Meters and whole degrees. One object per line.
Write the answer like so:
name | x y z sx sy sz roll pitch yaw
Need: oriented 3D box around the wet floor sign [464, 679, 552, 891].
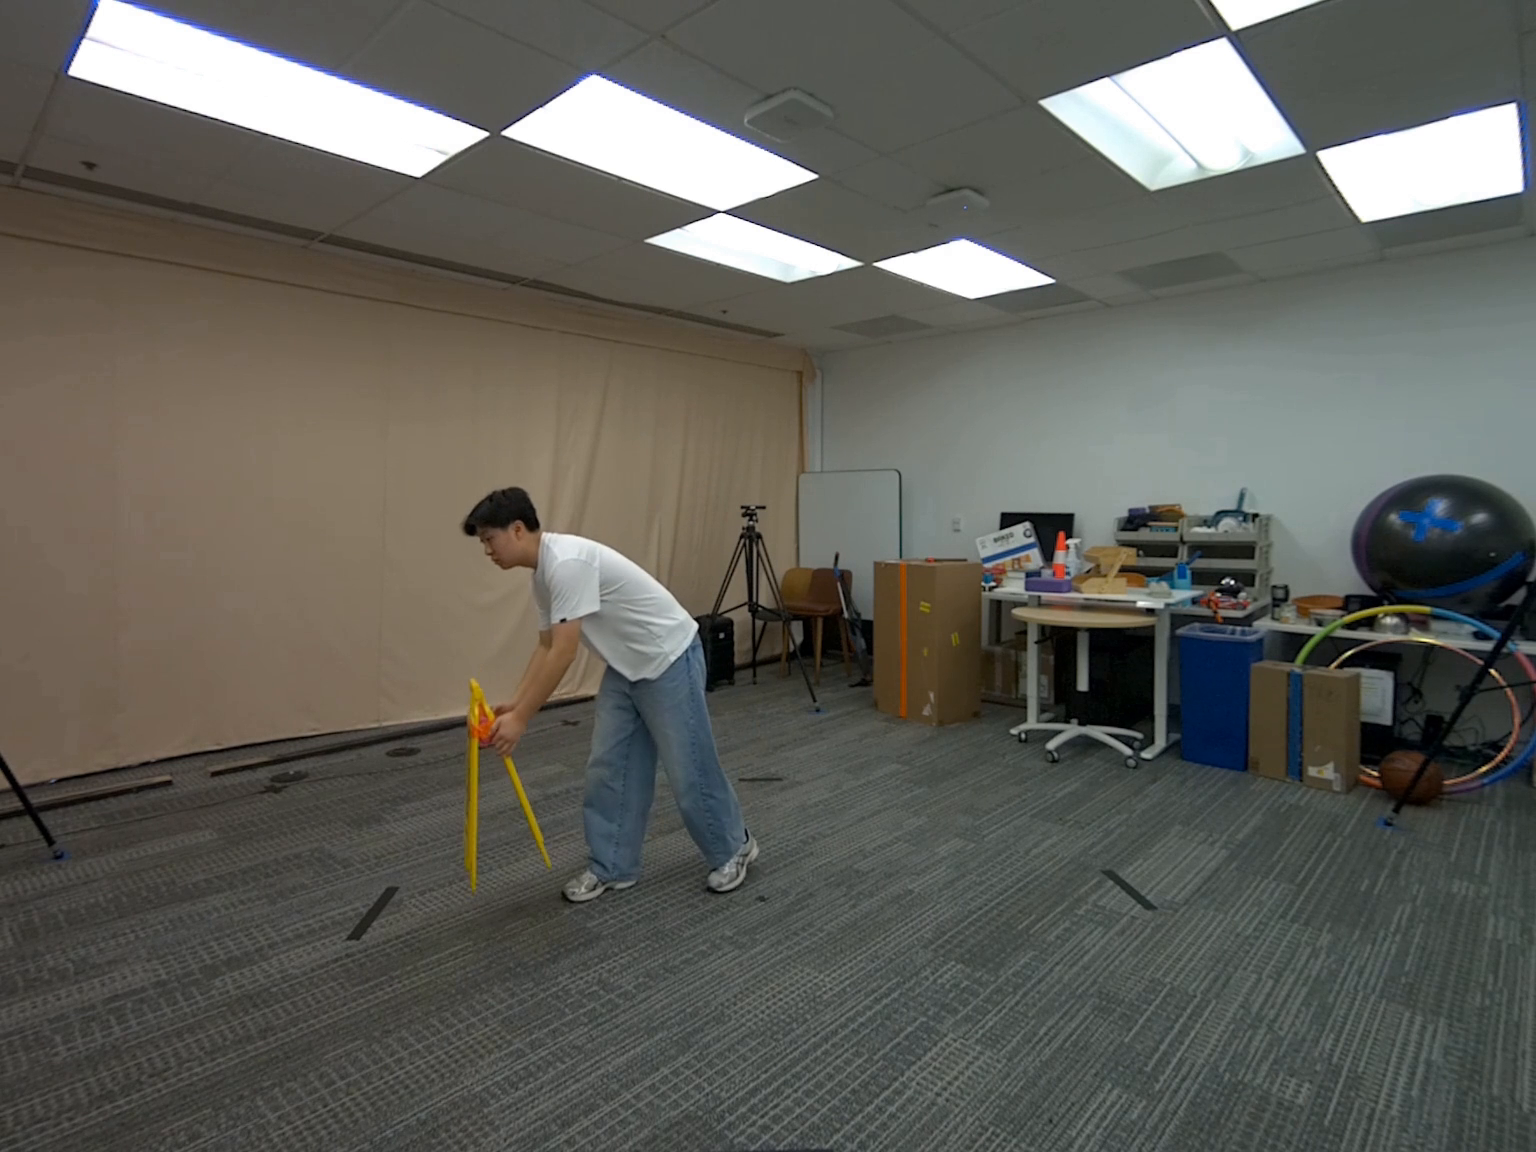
wet floor sign | -0.937 0.671 2.857 0.284 0.644 0.288 -11 4 -22
